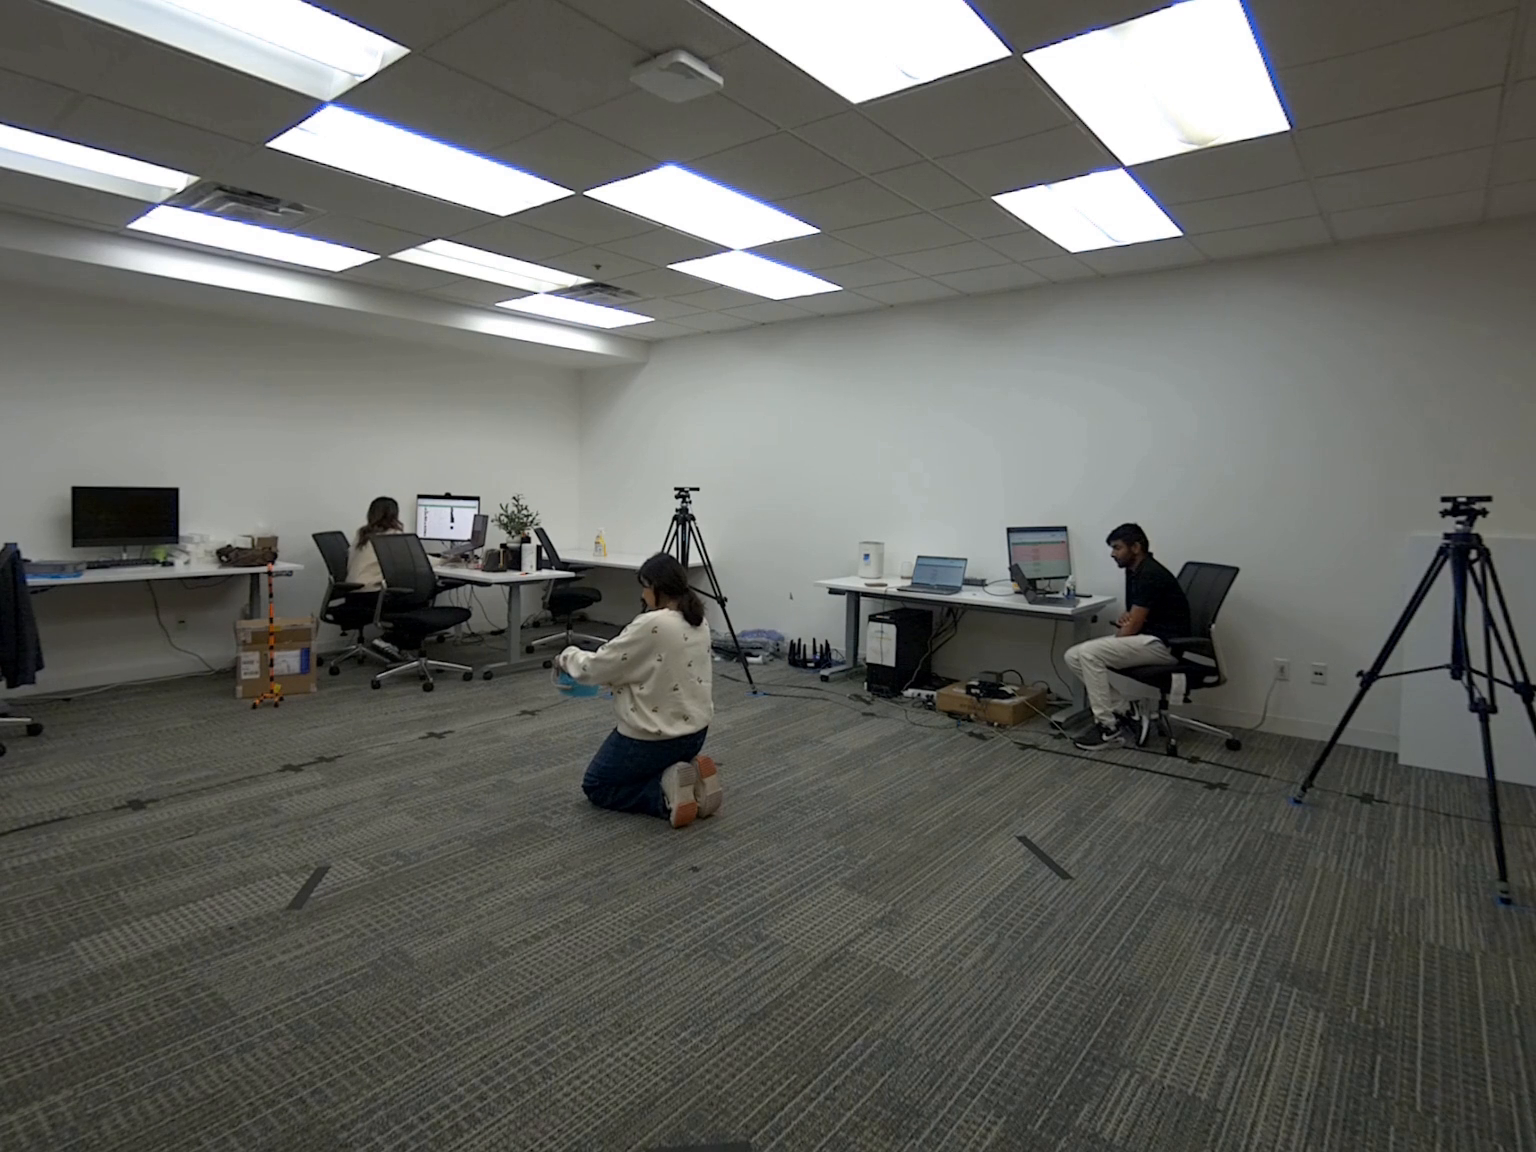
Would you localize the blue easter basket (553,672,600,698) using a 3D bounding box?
[{"bbox_3d":[-0.846,0.453,3.903,0.243,0.155,0.244,8,3,-2],"label":"blue easter basket"}]
